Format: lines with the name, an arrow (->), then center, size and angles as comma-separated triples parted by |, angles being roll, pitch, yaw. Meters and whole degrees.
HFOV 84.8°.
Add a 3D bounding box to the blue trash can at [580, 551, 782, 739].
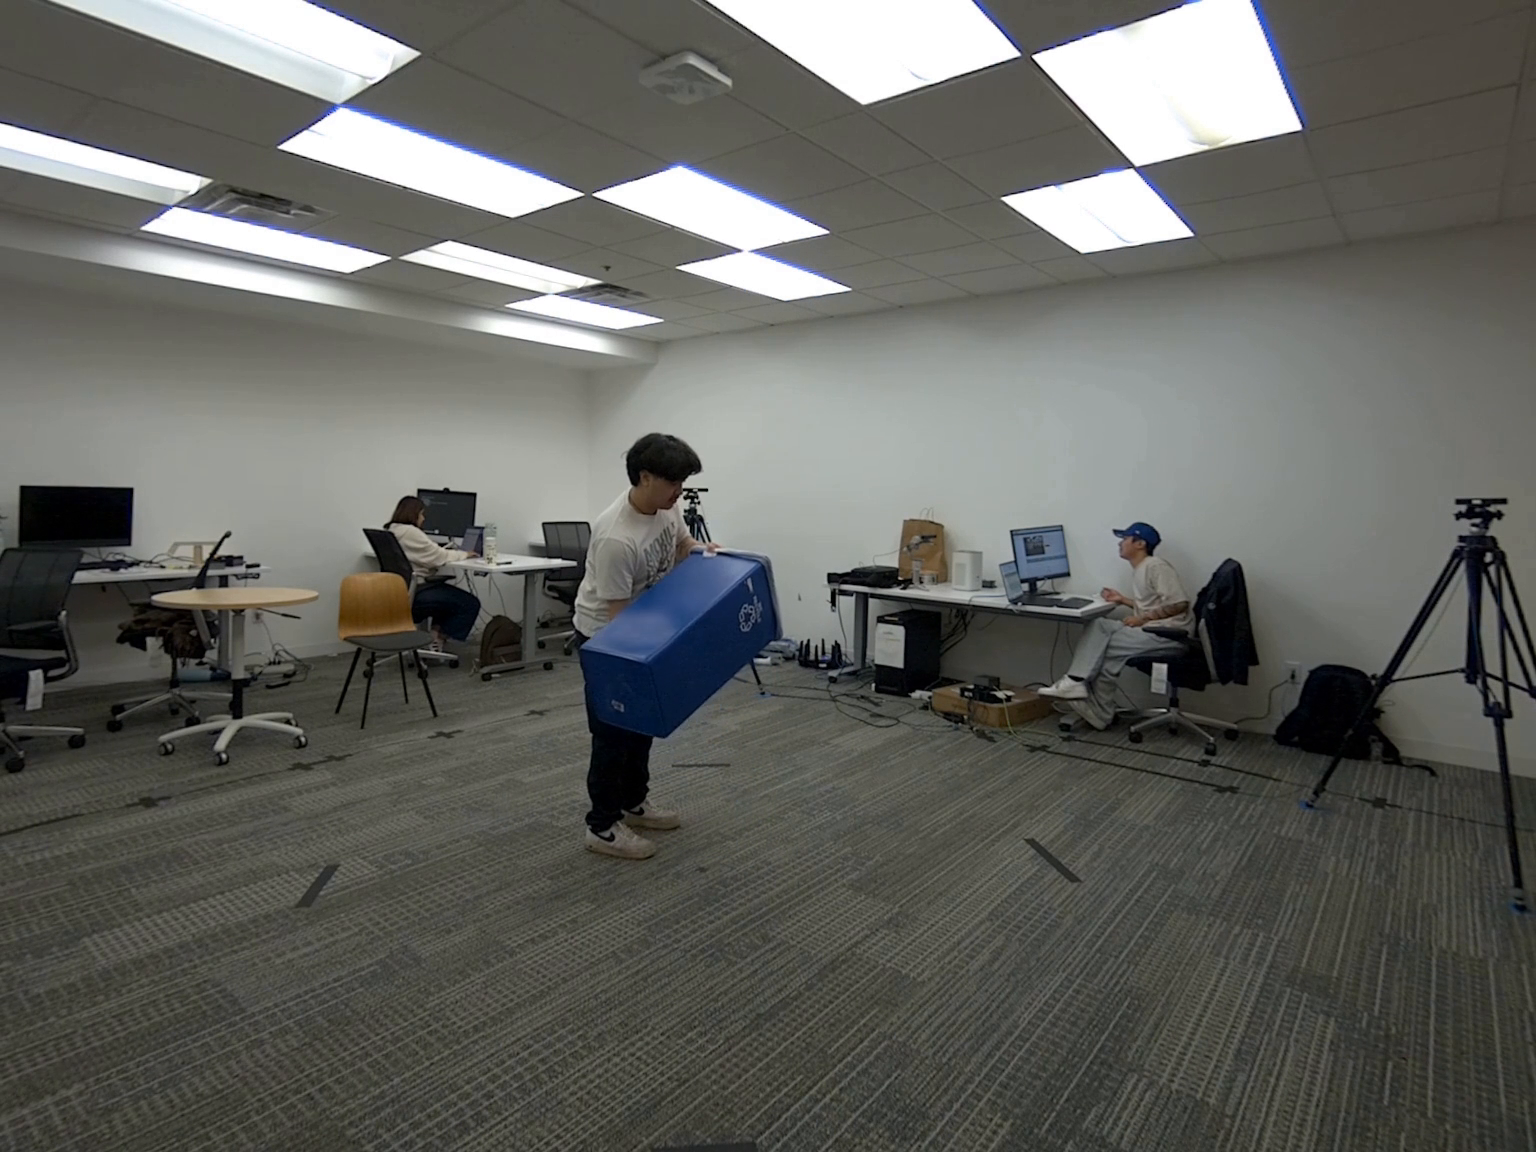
blue trash can -> -0.303, 0.236, 3.037 | 0.391, 0.364, 0.708 | 7, 31, 35
